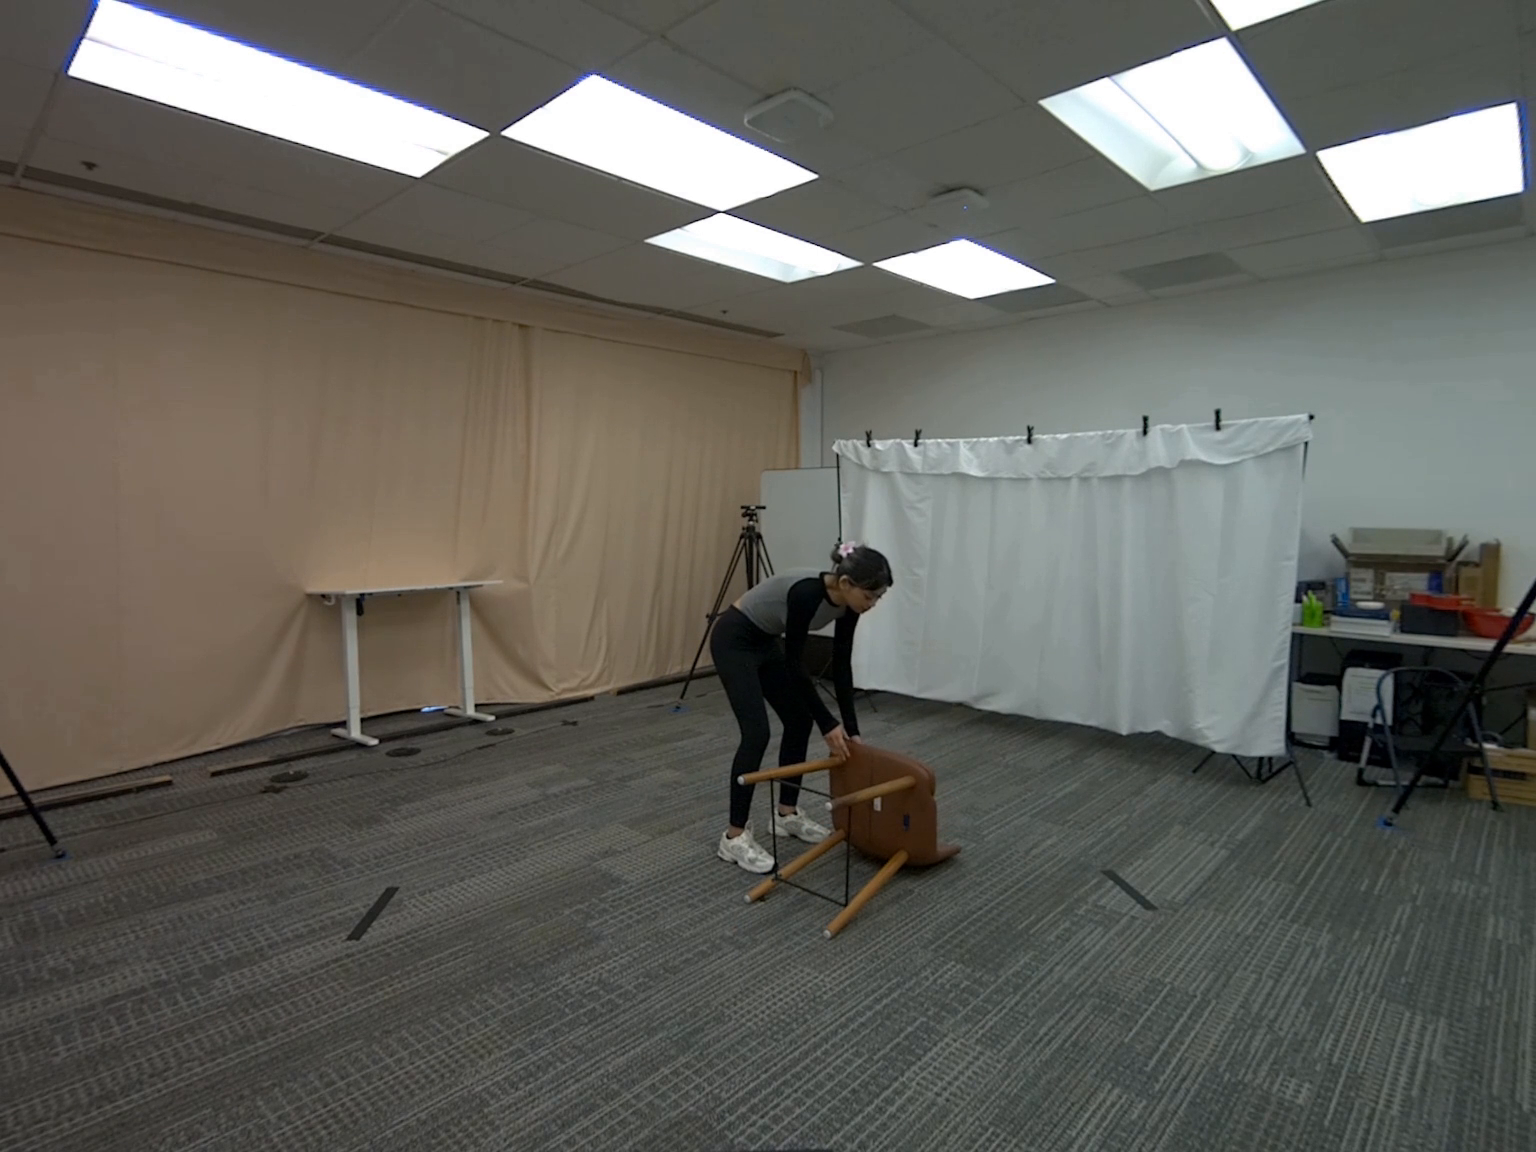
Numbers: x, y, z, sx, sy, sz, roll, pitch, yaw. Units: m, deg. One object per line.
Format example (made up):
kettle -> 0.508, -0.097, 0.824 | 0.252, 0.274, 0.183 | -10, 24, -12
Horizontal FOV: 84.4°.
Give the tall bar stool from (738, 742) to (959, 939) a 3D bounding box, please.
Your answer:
tall bar stool -> 0.346, 0.902, 3.119 | 0.472, 0.466, 0.862 | 3, 5, 43
